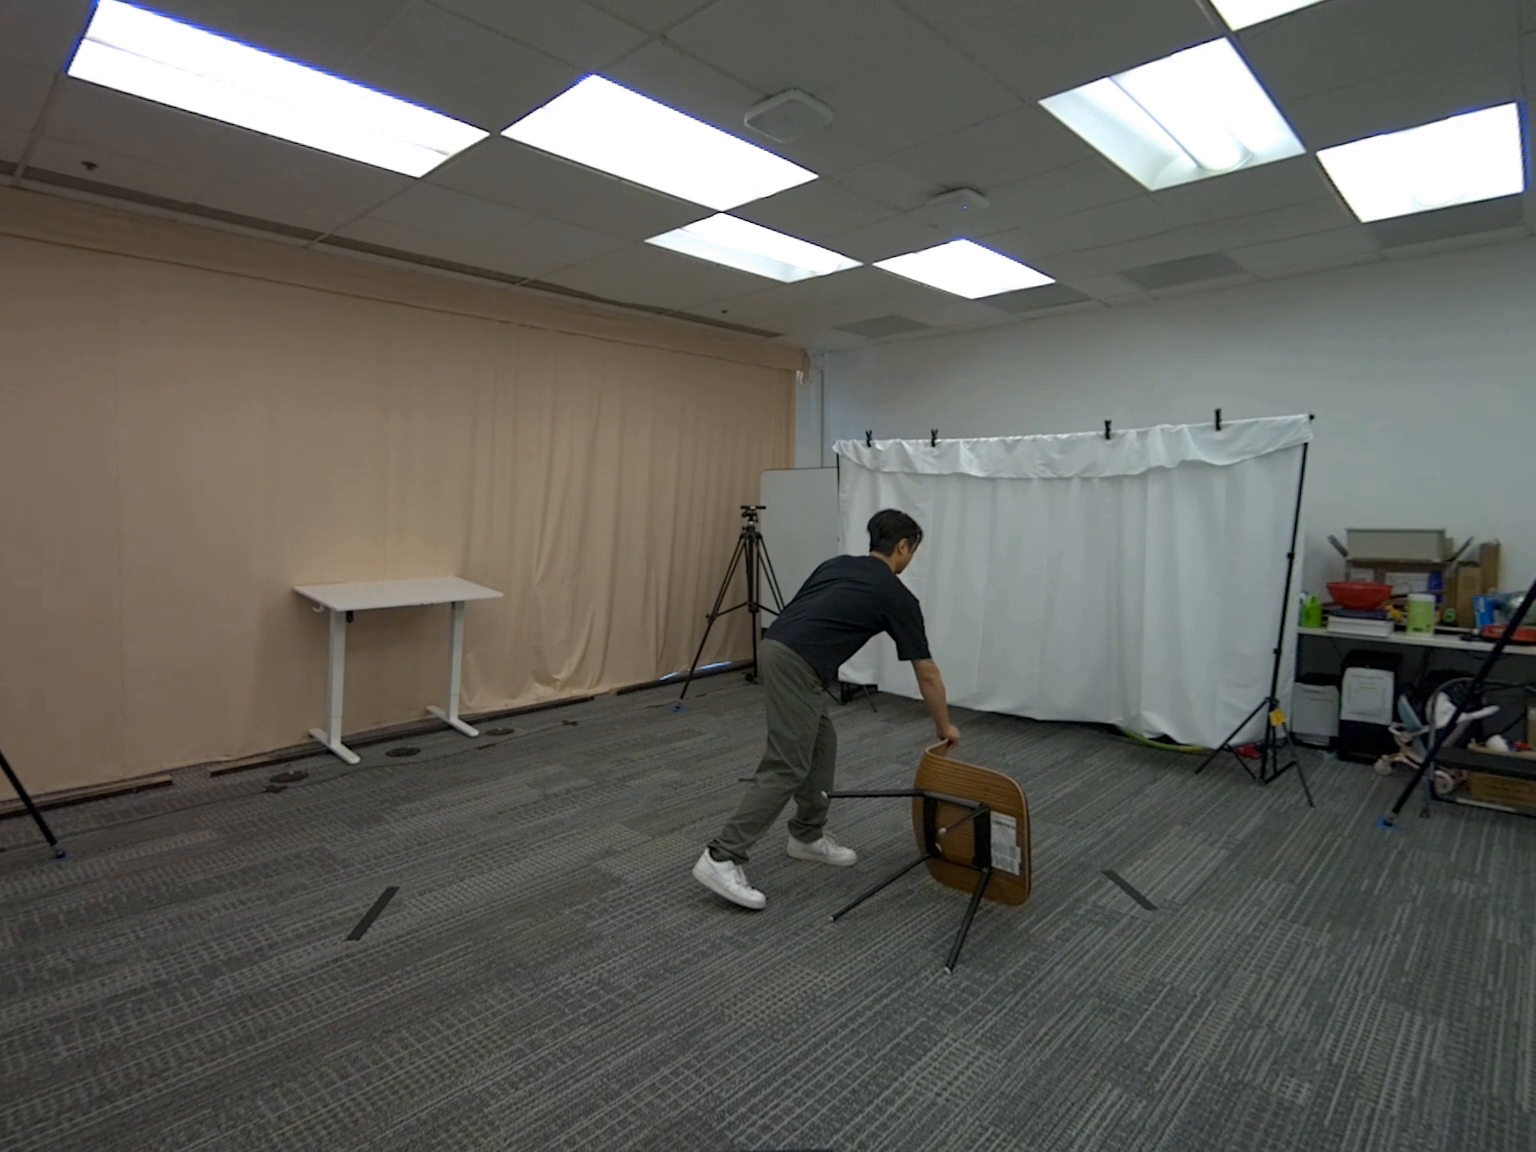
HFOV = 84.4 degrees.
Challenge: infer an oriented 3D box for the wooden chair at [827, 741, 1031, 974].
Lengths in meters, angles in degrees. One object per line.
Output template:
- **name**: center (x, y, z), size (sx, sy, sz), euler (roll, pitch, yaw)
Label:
- **wooden chair**: center (0.661, 0.891, 2.918), size (0.540, 0.476, 0.853), euler (2, 8, 40)
